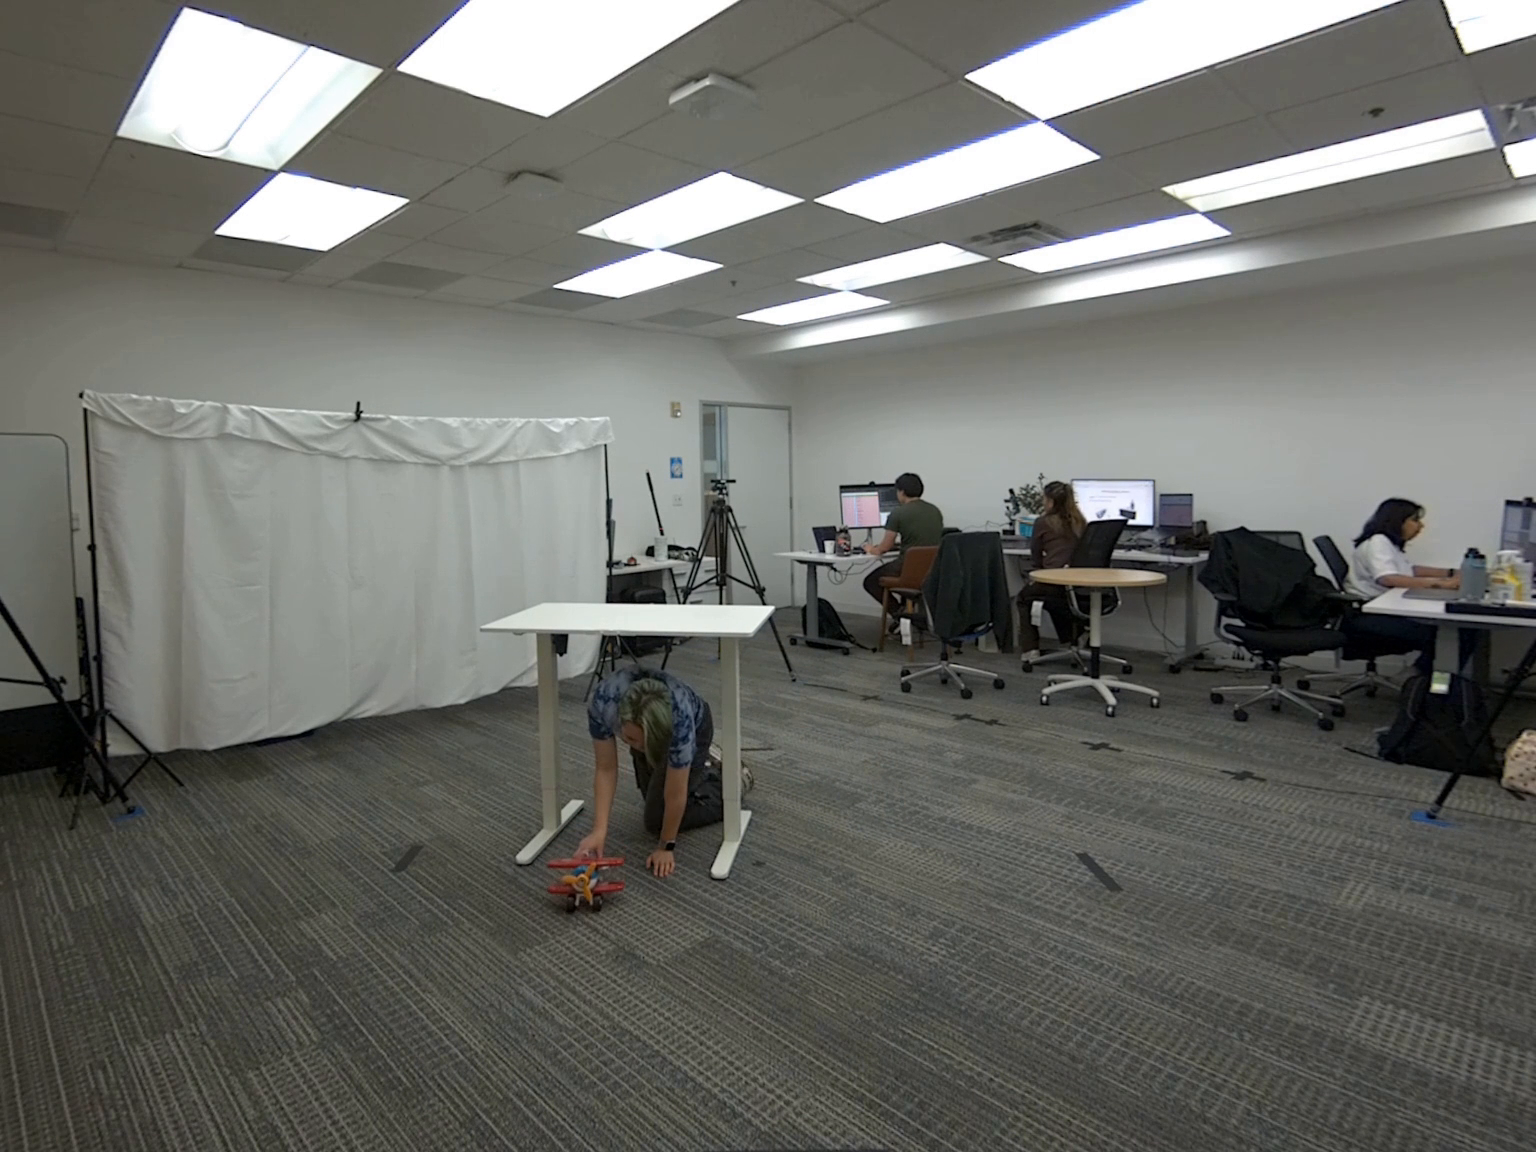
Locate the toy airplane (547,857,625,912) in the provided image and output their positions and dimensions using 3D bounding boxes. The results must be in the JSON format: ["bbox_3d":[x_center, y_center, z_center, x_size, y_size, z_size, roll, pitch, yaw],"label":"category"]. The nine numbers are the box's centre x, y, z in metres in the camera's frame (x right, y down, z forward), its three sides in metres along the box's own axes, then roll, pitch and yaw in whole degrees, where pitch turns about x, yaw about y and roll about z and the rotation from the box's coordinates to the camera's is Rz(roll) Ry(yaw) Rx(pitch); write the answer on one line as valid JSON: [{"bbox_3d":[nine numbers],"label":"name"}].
[{"bbox_3d":[-0.626,1.018,2.877,0.245,0.156,0.266,-5,7,-30],"label":"toy airplane"}]
